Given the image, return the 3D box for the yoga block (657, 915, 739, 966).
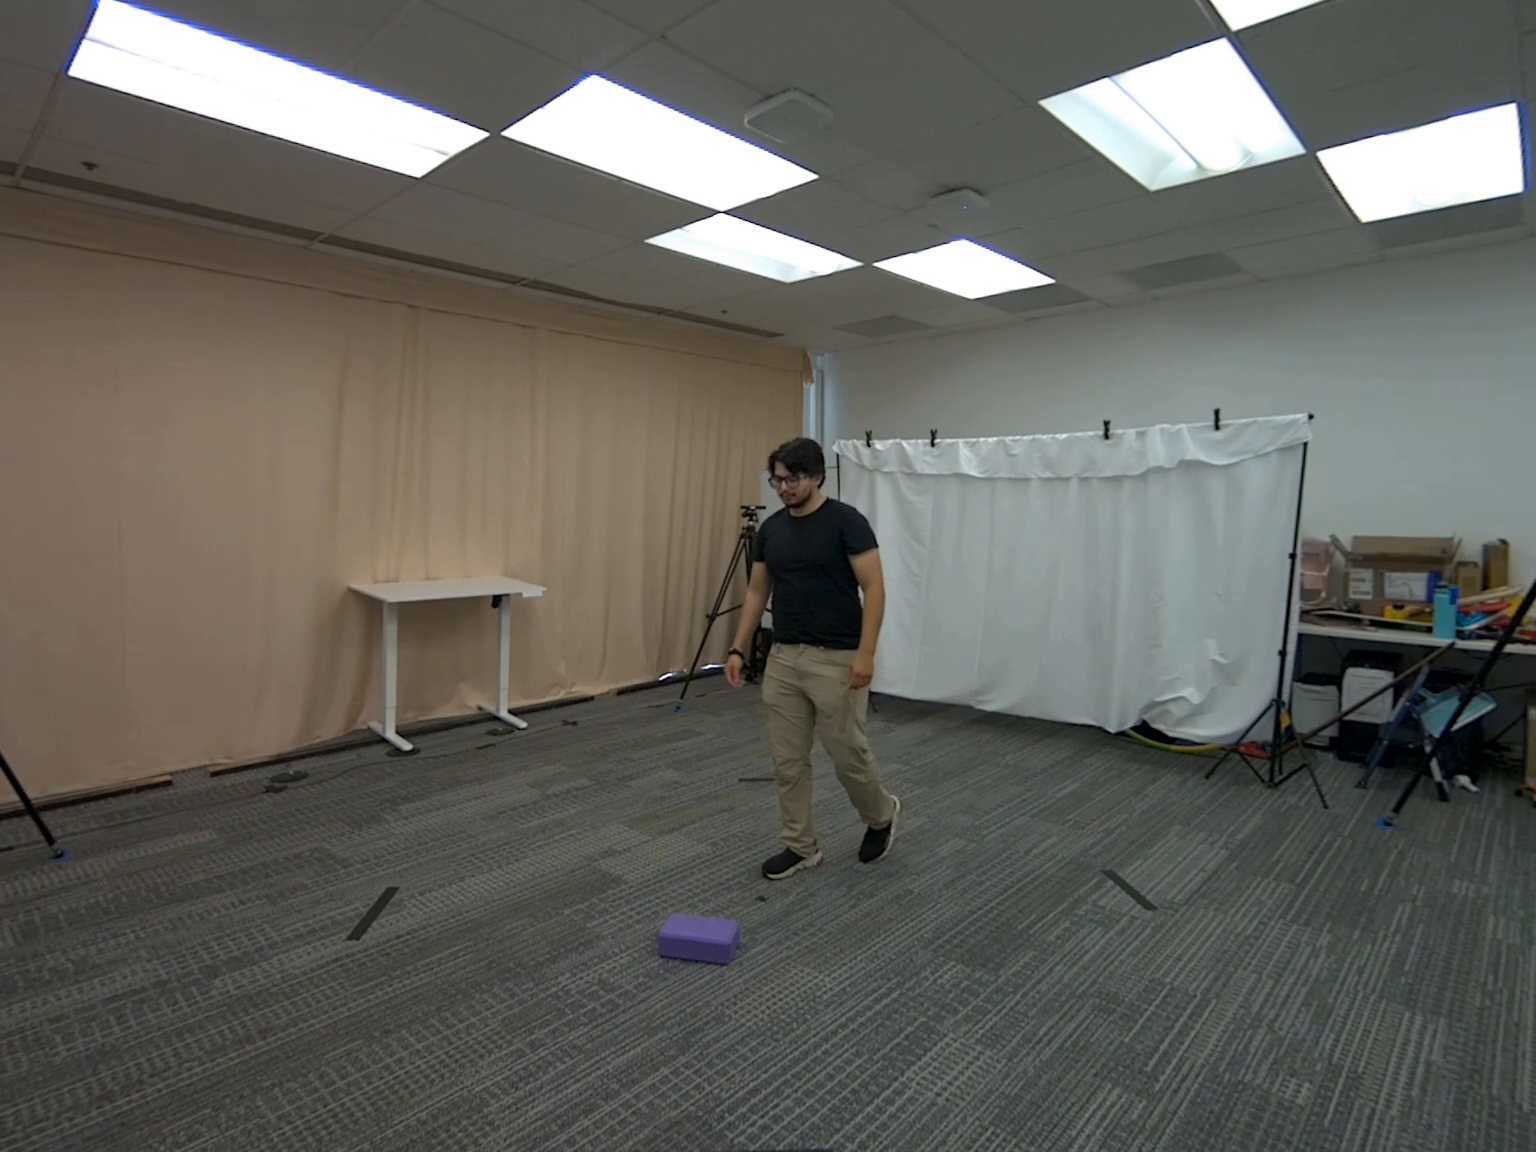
[{"bbox_3d":[-0.212,1.132,2.635,0.233,0.076,0.147,0,3,13],"label":"yoga block"}]
